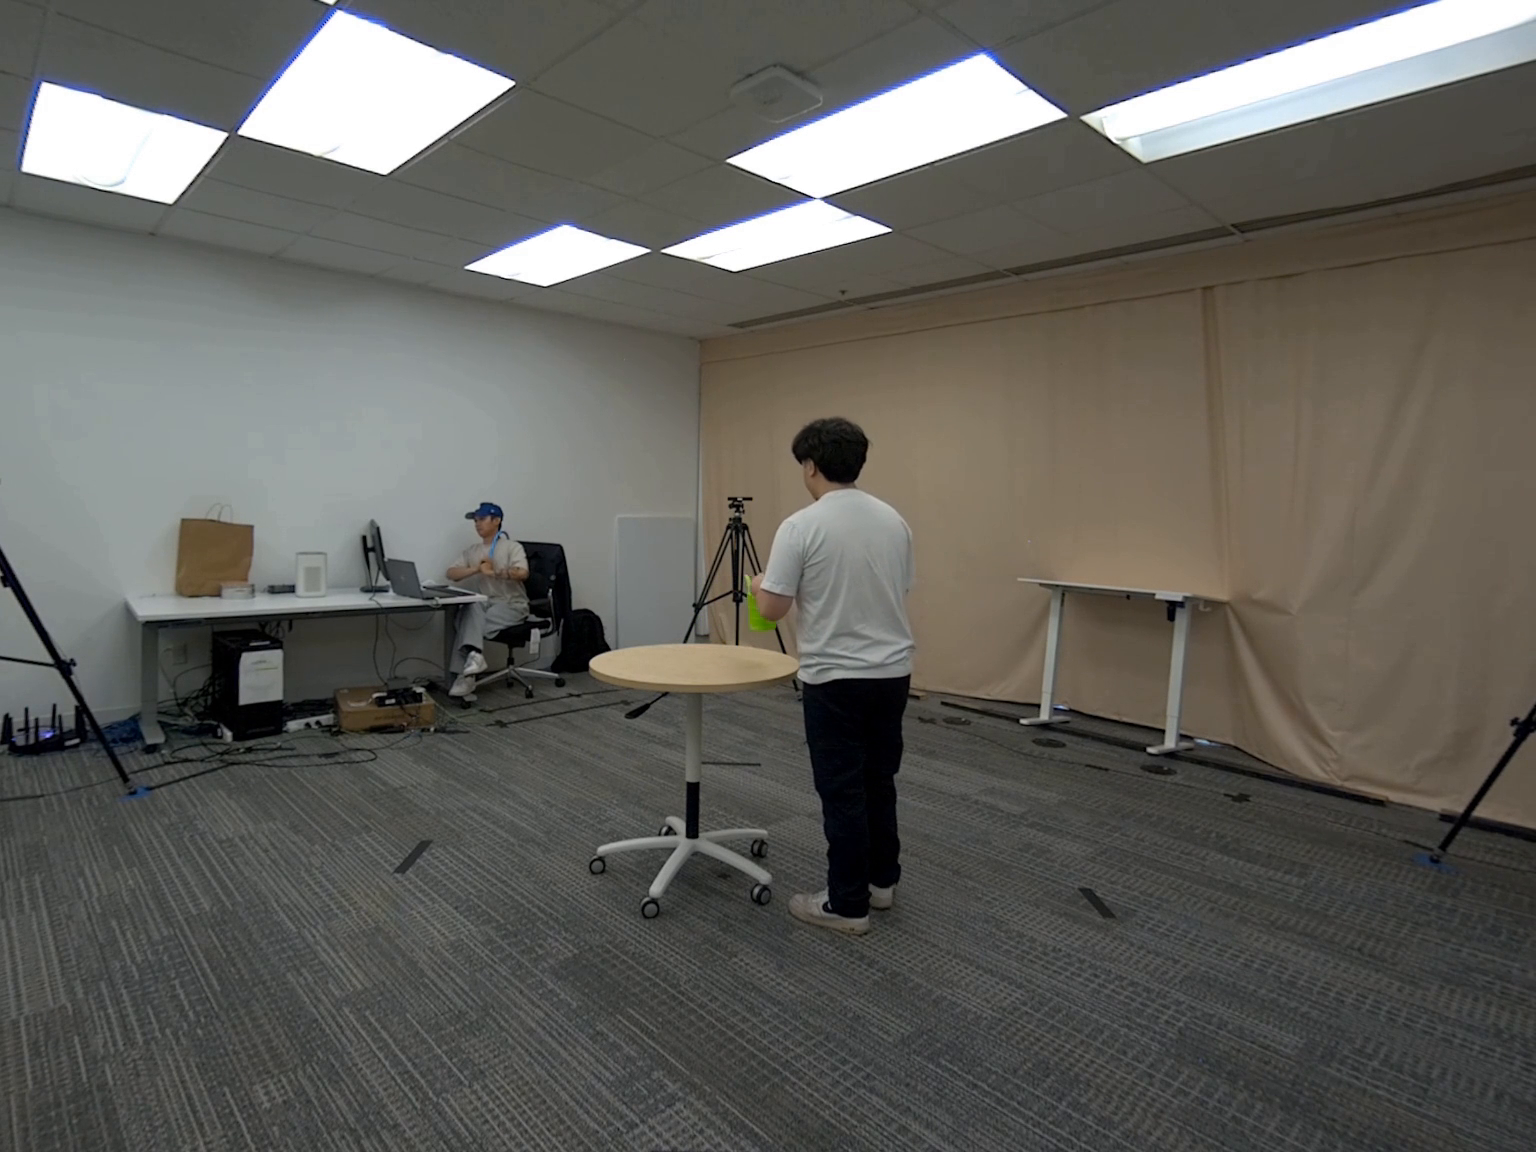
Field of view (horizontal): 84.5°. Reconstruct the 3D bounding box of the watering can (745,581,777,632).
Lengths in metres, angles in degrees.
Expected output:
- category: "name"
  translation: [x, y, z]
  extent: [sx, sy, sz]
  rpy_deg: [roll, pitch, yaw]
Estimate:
- category: "watering can"
  translation: [-0.041, 0.098, 3.083]
  extent: [0.097, 0.176, 0.280]
  rpy_deg: [-2, 5, -8]
